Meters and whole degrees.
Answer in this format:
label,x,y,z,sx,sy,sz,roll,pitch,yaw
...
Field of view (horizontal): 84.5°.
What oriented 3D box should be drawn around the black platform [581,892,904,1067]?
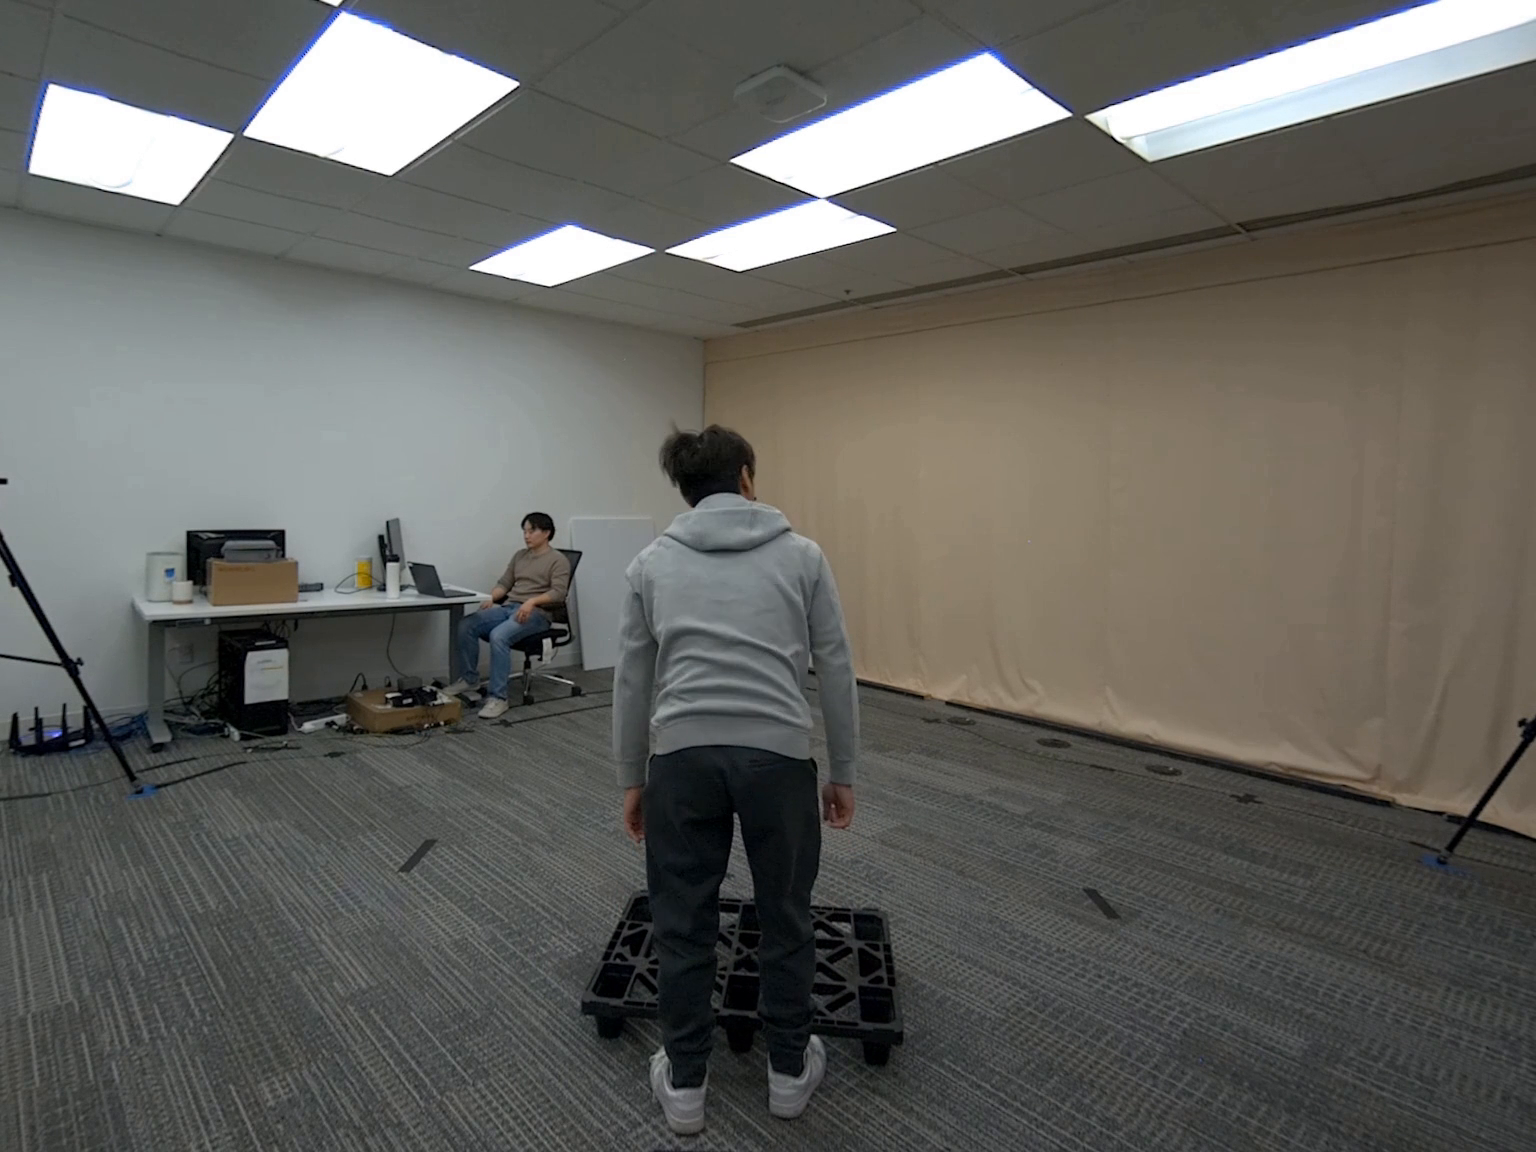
label,x,y,z,sx,sy,sz,roll,pitch,yaw
black platform,-0.055,1.111,2.346,0.810,0.143,0.604,2,6,5
